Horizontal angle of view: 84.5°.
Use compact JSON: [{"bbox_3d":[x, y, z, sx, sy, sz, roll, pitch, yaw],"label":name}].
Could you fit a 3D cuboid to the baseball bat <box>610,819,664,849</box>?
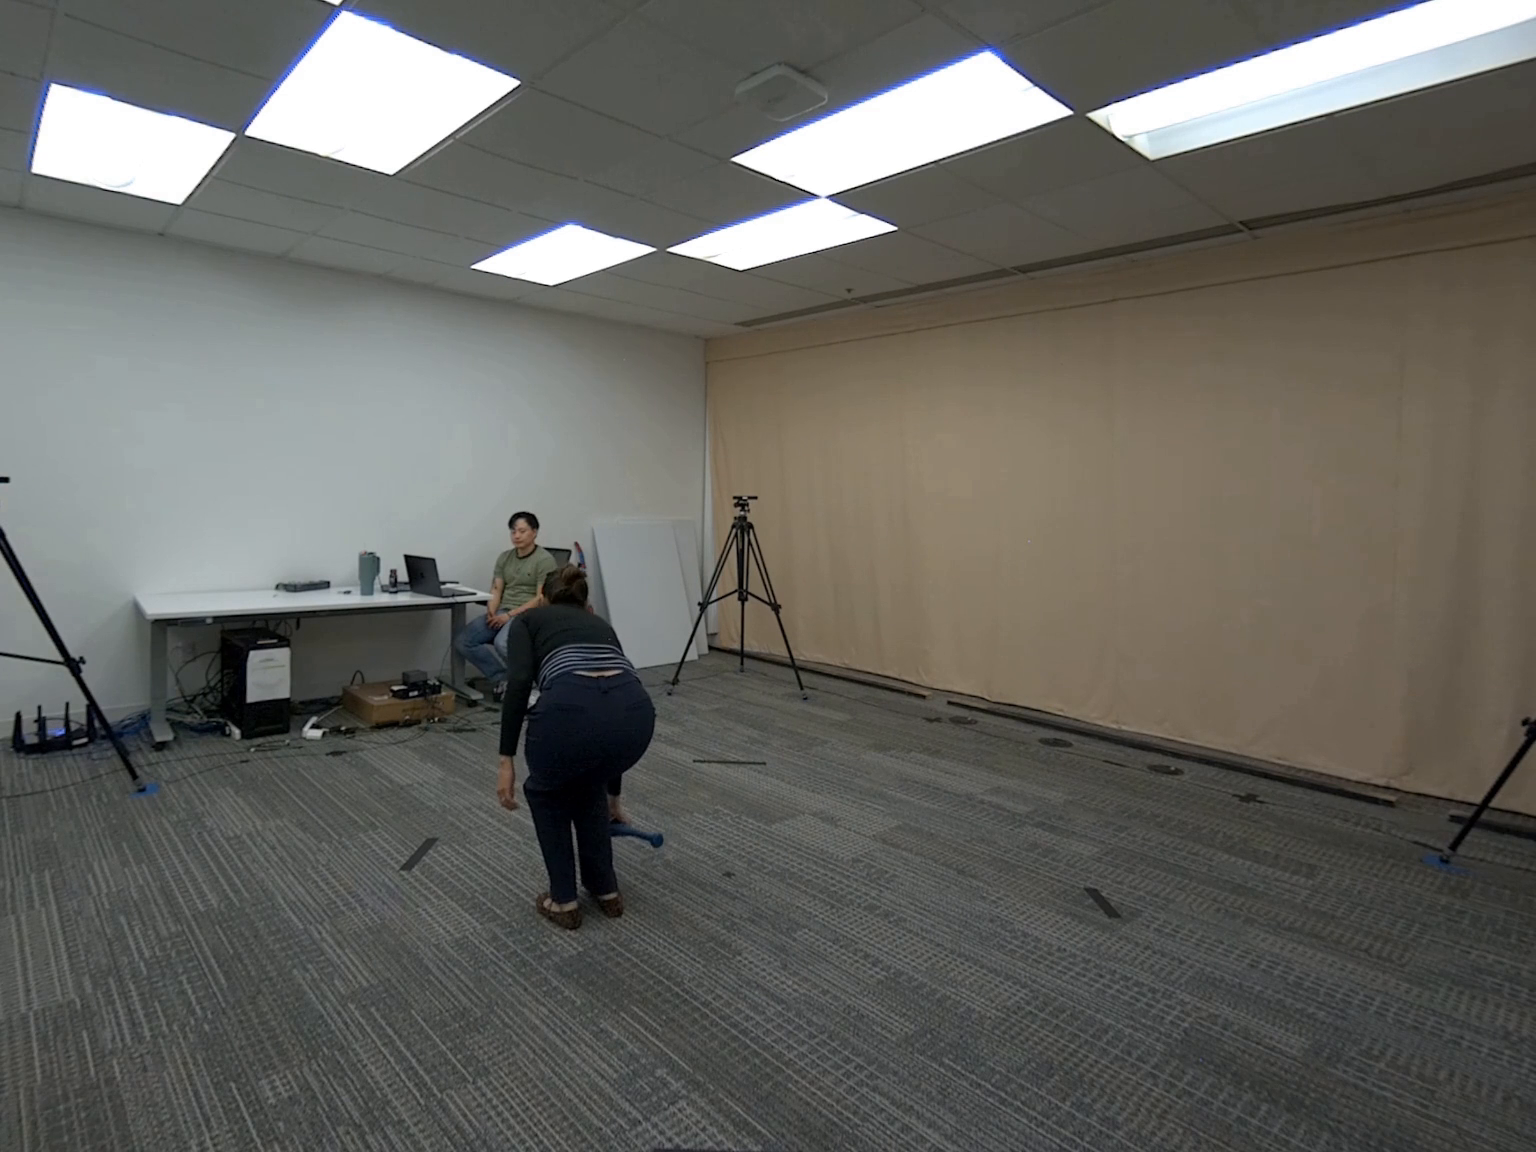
[{"bbox_3d":[-0.576,0.928,3.104,0.087,0.089,0.554,-2,-2,-41],"label":"baseball bat"}]
